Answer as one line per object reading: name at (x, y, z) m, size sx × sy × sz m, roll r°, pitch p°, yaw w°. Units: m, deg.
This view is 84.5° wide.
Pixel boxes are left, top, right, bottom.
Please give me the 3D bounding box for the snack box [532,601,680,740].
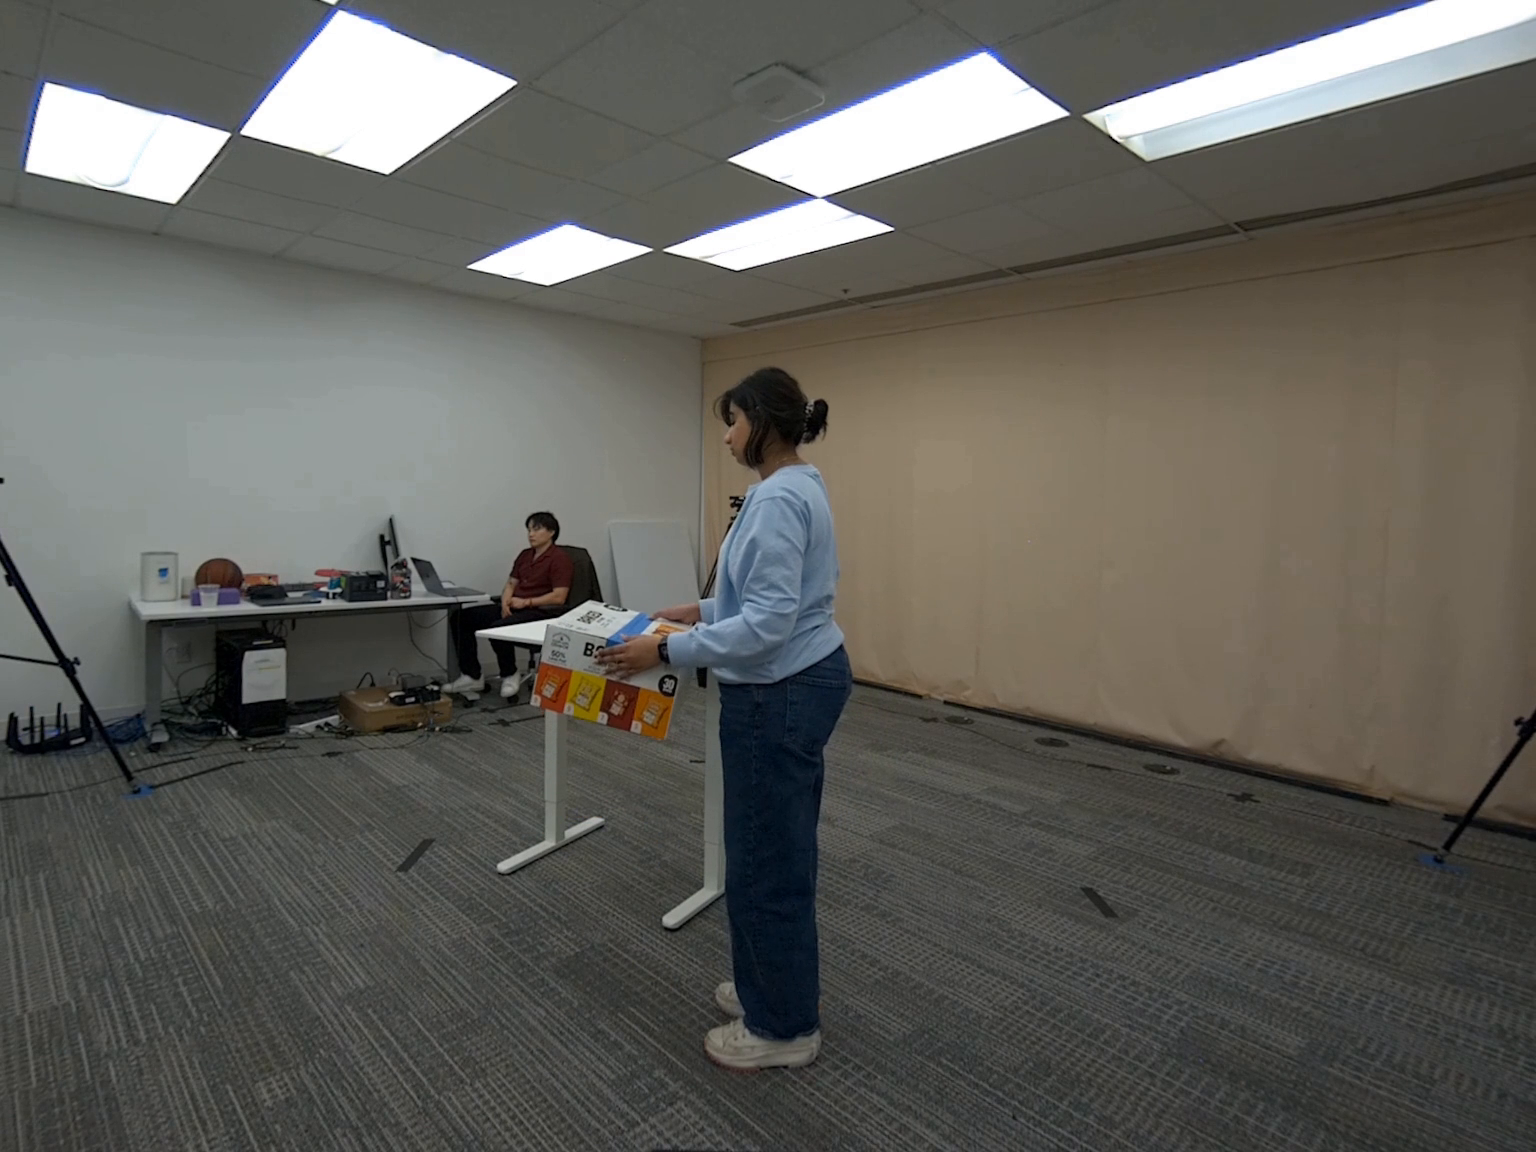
snack box at (-0.378, 0.235, 2.195) m, size 0.341 × 0.205 × 0.405 m, roll 14°, pitch 8°, yaw 2°
